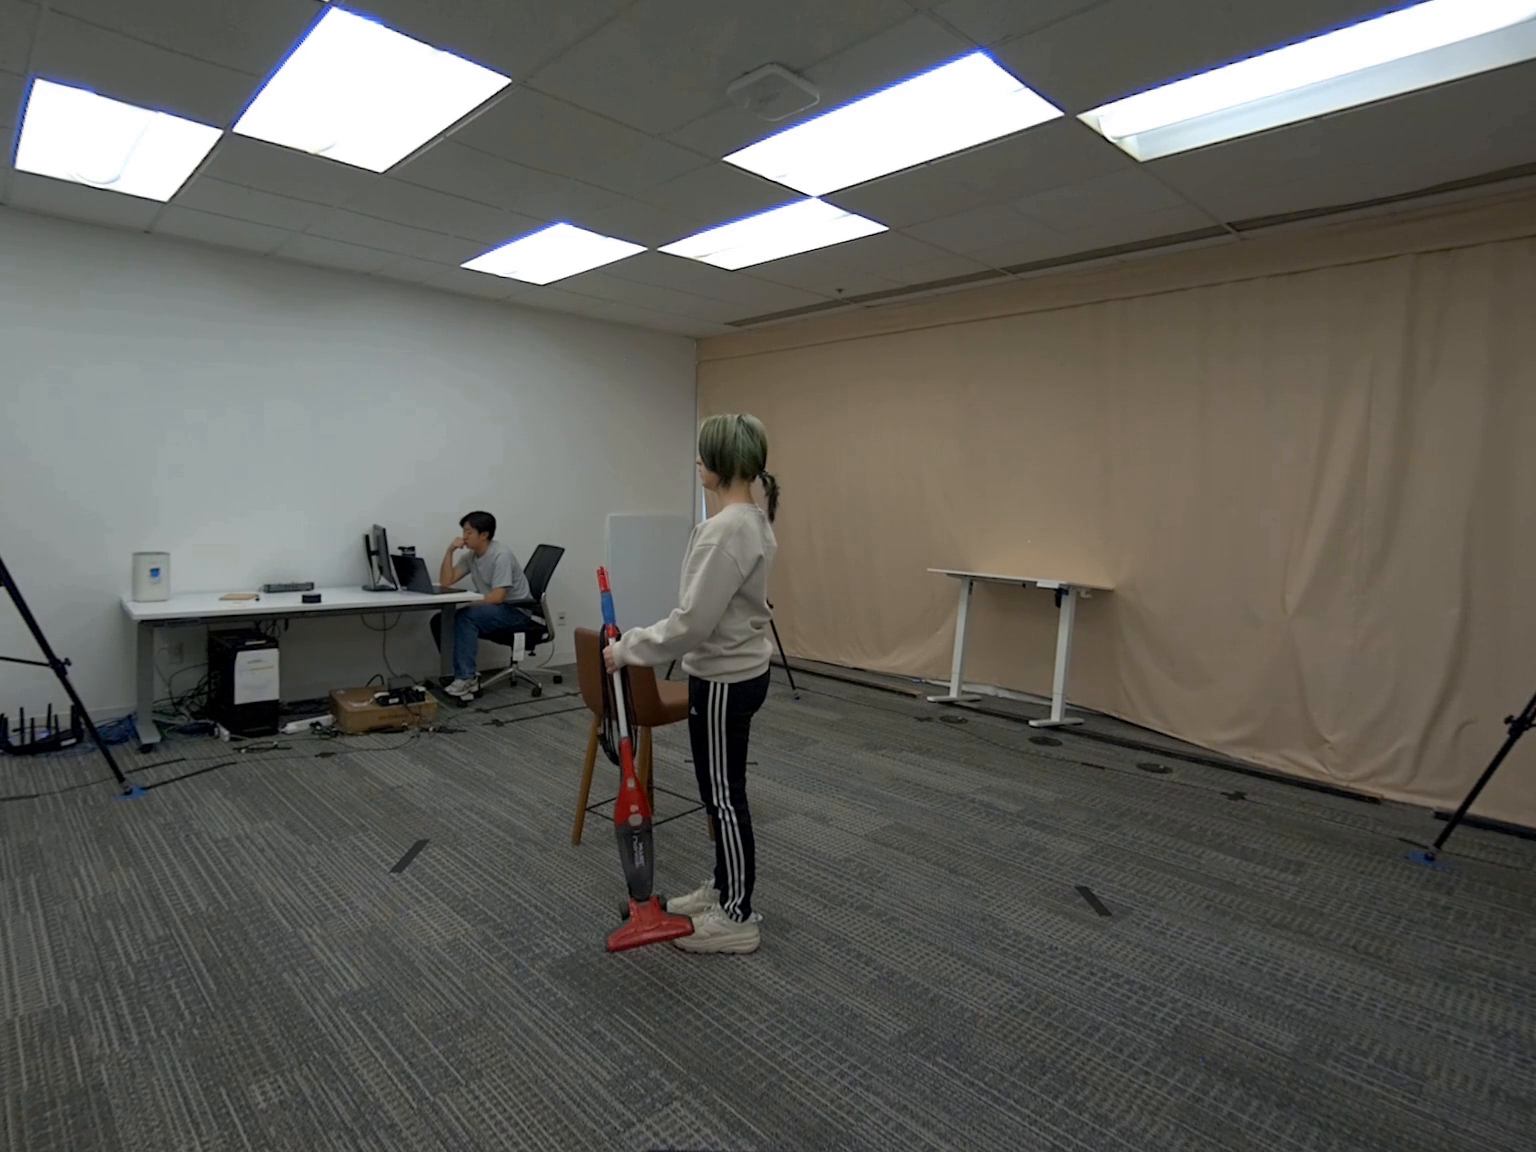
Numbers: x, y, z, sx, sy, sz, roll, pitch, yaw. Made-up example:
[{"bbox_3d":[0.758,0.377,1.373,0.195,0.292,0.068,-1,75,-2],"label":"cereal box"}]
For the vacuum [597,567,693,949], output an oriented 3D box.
[{"bbox_3d":[-0.447,0.487,2.530,0.250,1.062,0.144,-7,-15,-15],"label":"vacuum"}]
